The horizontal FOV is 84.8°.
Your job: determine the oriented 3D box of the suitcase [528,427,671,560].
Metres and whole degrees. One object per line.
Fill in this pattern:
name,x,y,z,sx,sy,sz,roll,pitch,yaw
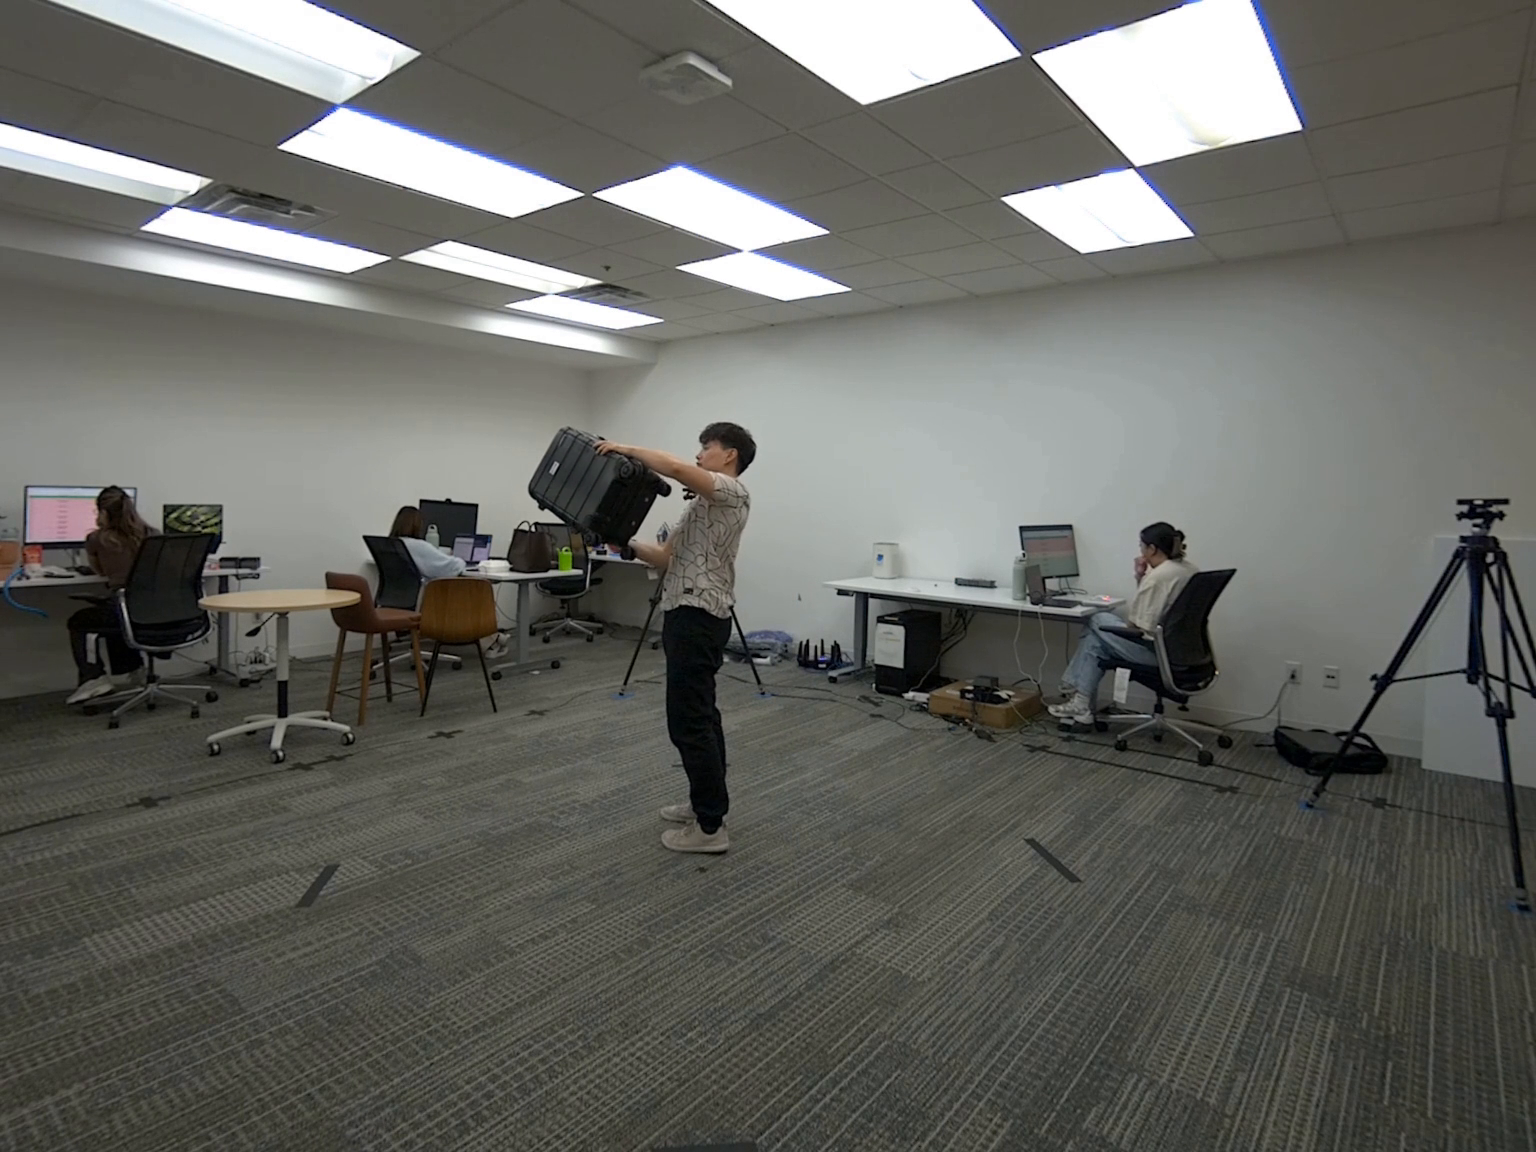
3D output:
suitcase,-0.716,-0.372,3.452,0.572,0.375,0.238,32,4,38
